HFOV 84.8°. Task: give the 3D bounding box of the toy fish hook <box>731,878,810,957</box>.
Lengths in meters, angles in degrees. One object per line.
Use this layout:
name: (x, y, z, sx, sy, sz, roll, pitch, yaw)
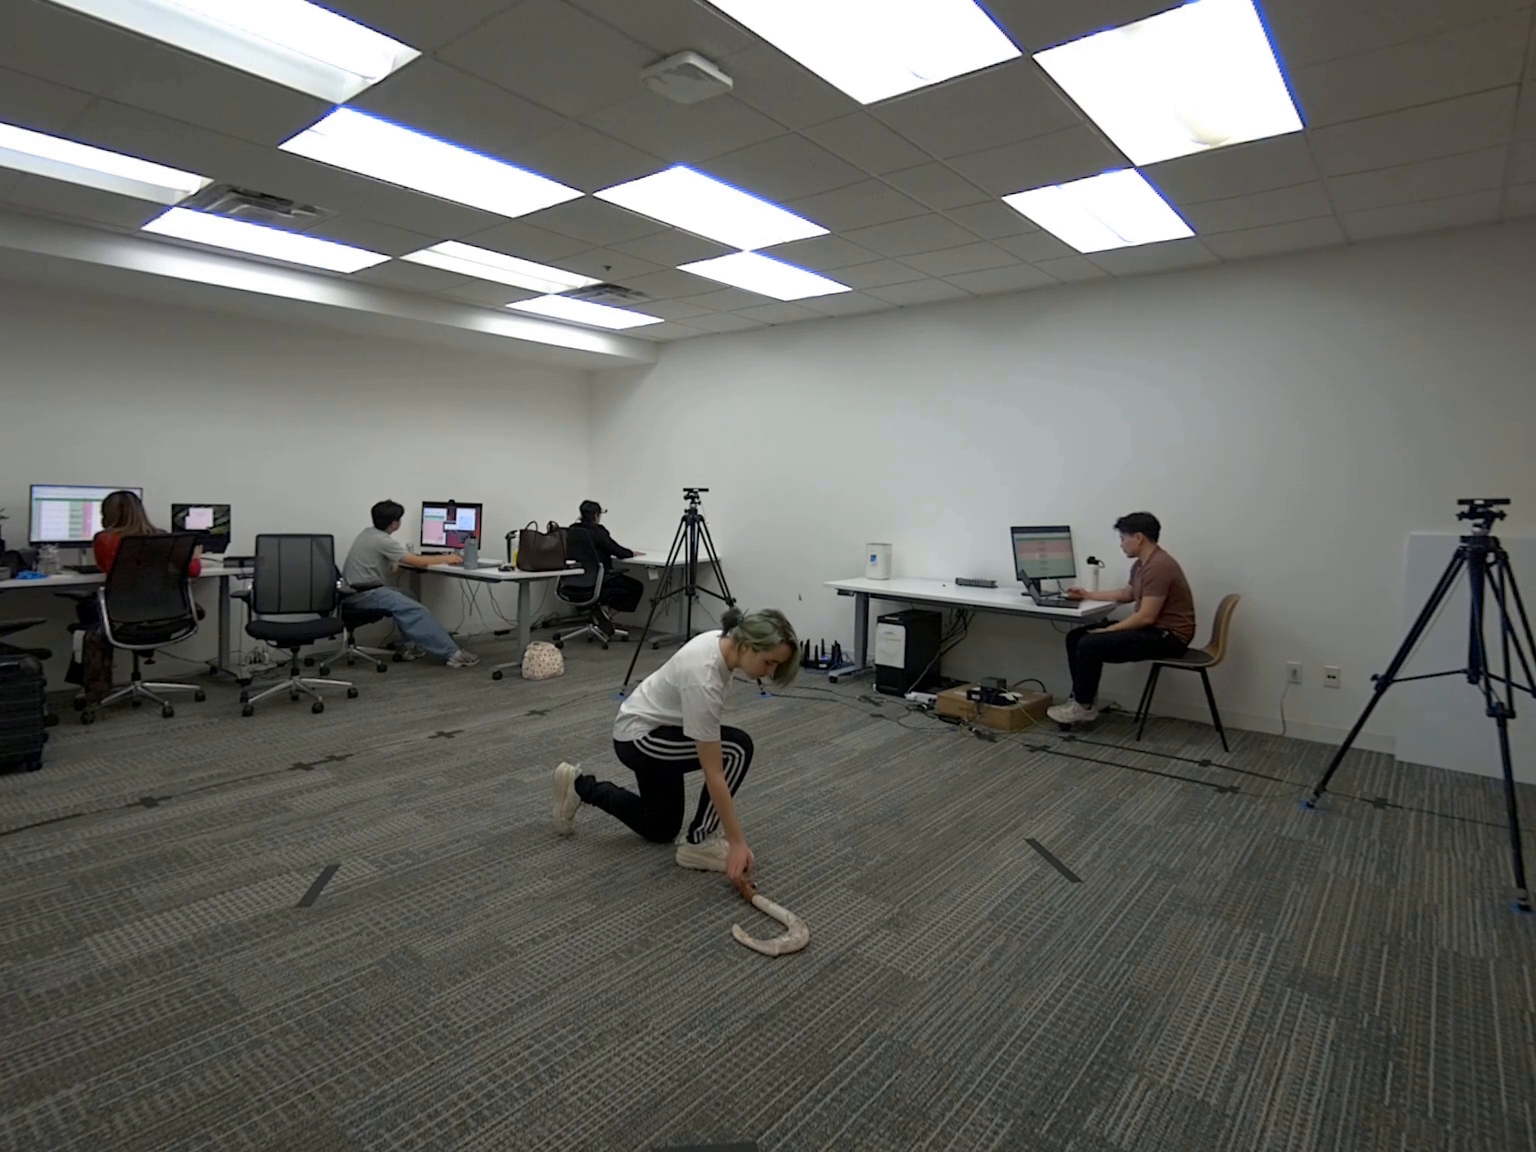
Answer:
toy fish hook: (-0.065, 1.081, 2.766, 0.219, 0.048, 0.521, 0, 6, -28)
